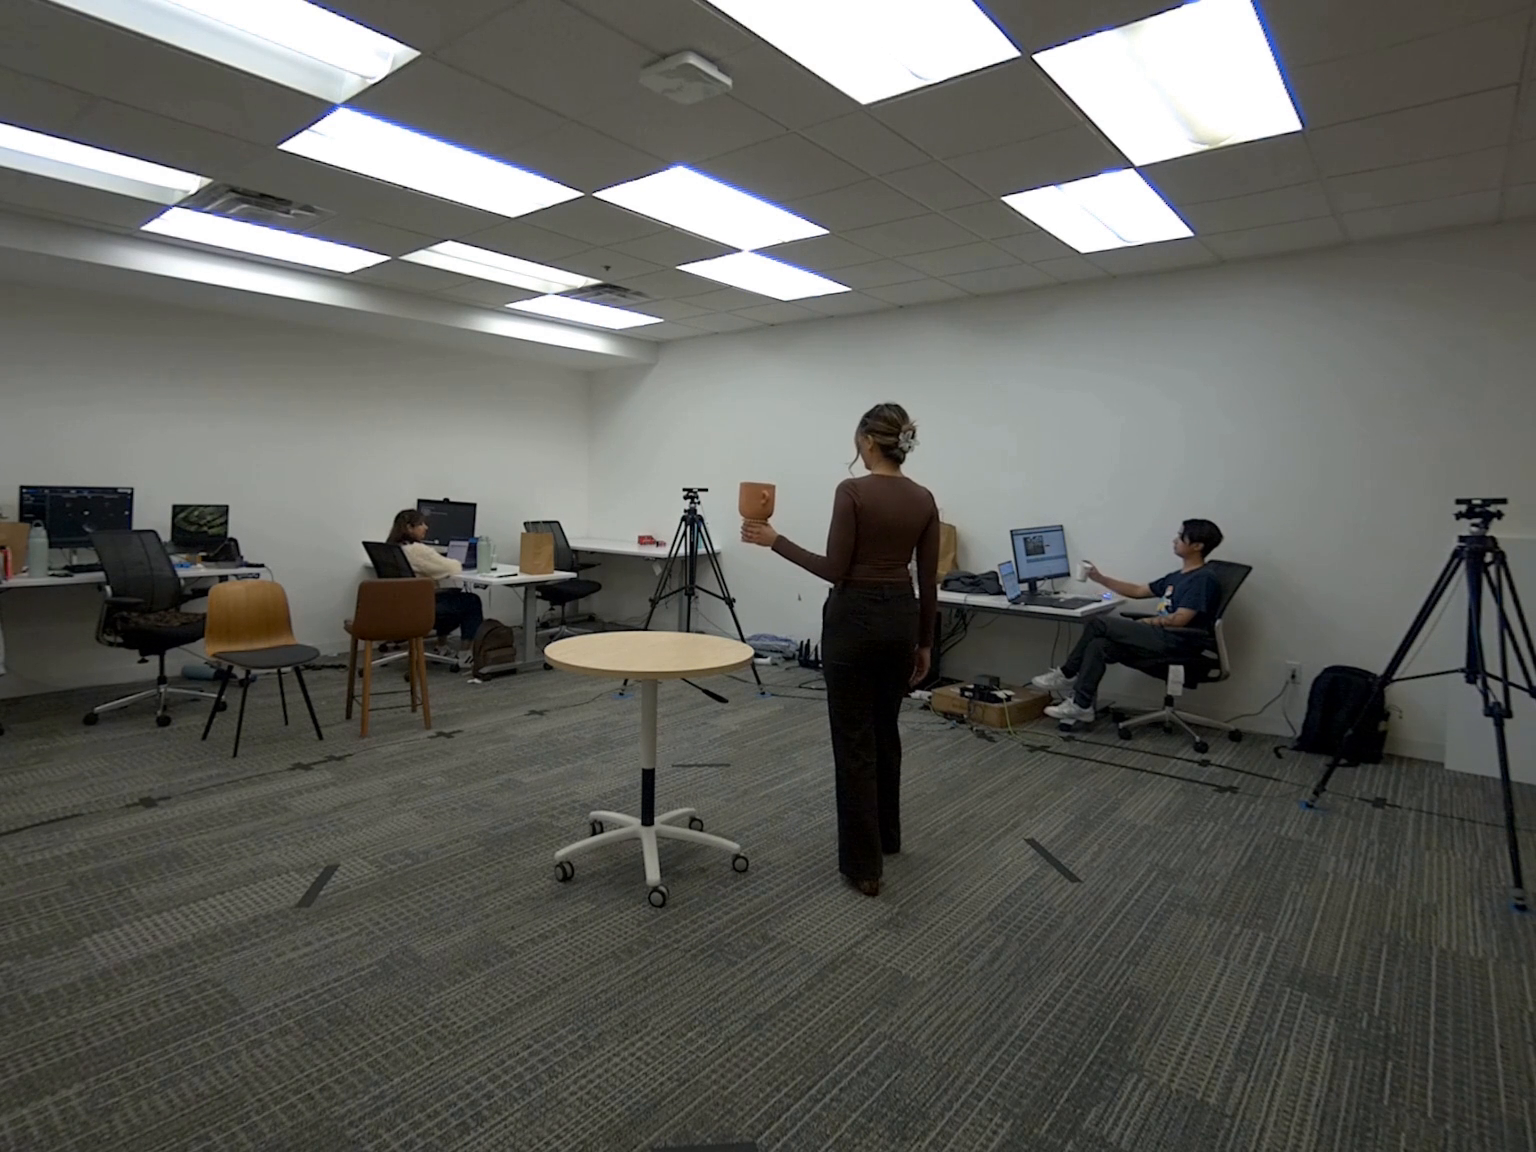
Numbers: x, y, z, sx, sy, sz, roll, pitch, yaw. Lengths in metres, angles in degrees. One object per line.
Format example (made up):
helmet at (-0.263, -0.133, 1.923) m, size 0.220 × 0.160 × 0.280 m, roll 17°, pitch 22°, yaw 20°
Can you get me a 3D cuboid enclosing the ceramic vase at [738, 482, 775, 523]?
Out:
ceramic vase at (-0.050, -0.241, 3.172) m, size 0.137 × 0.219 × 0.156 m, roll 4°, pitch 4°, yaw 16°
